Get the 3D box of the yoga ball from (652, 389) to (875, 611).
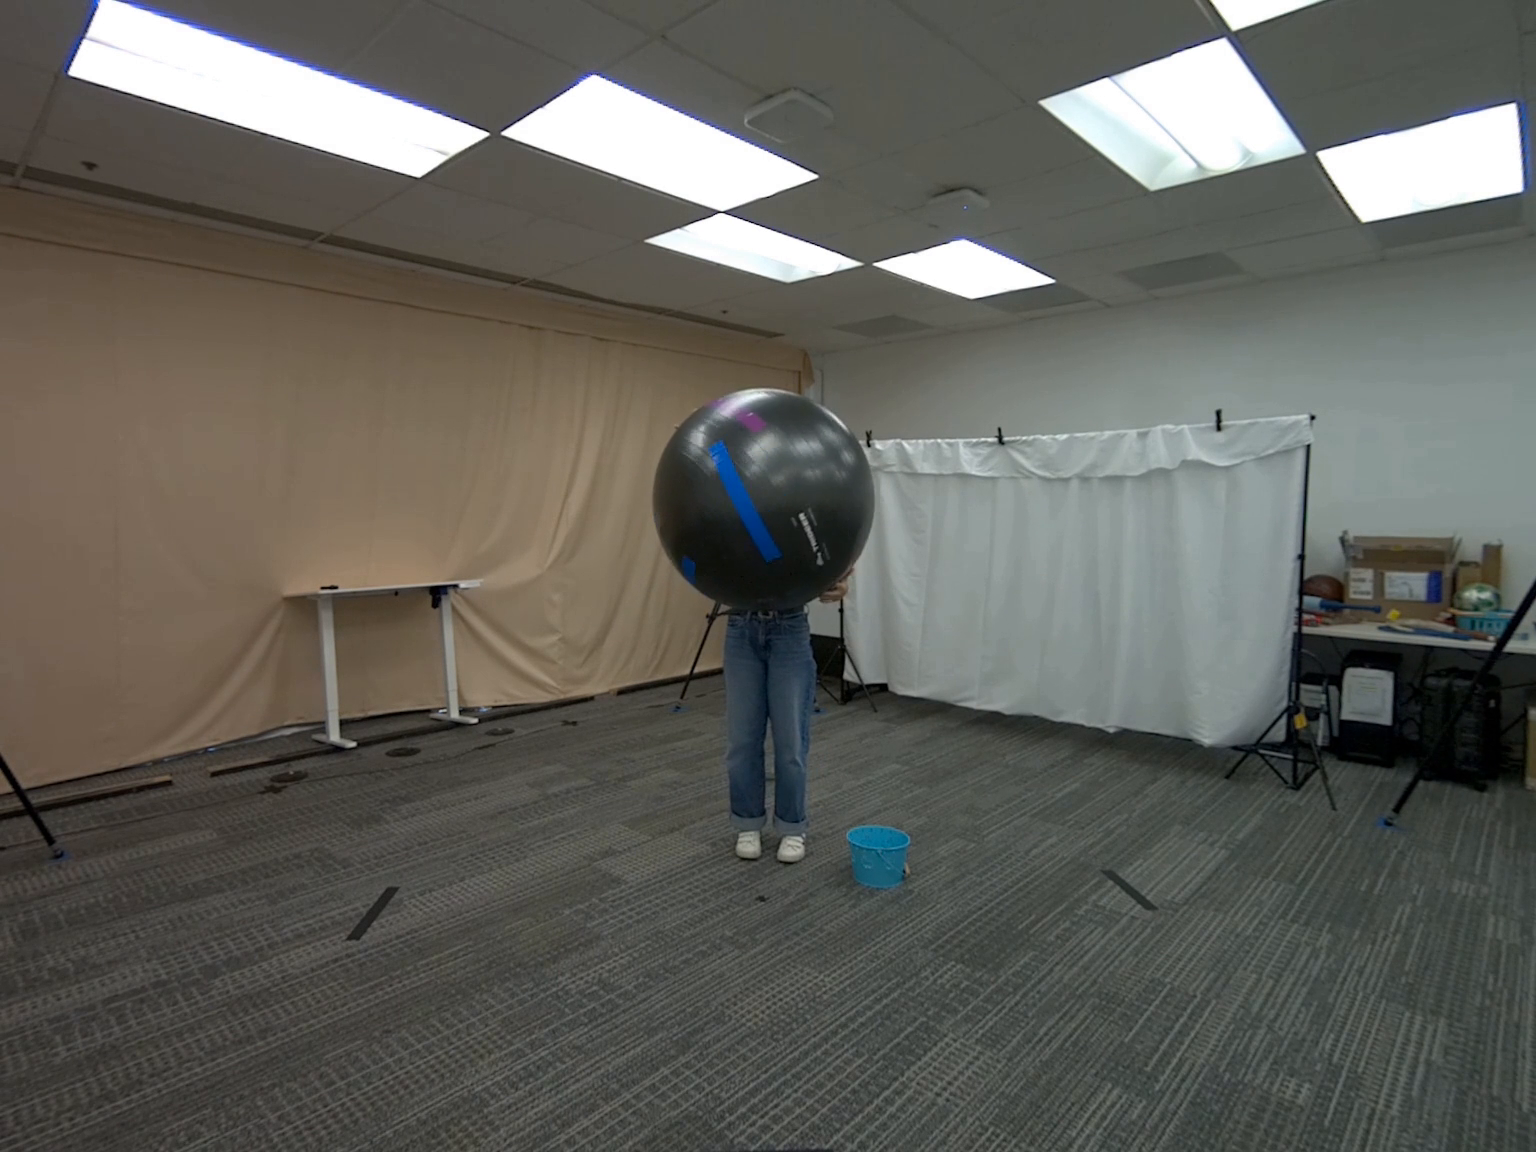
[{"bbox_3d":[-0.017,-0.251,2.887,0.757,0.756,0.760,0,4,-2],"label":"yoga ball"}]
